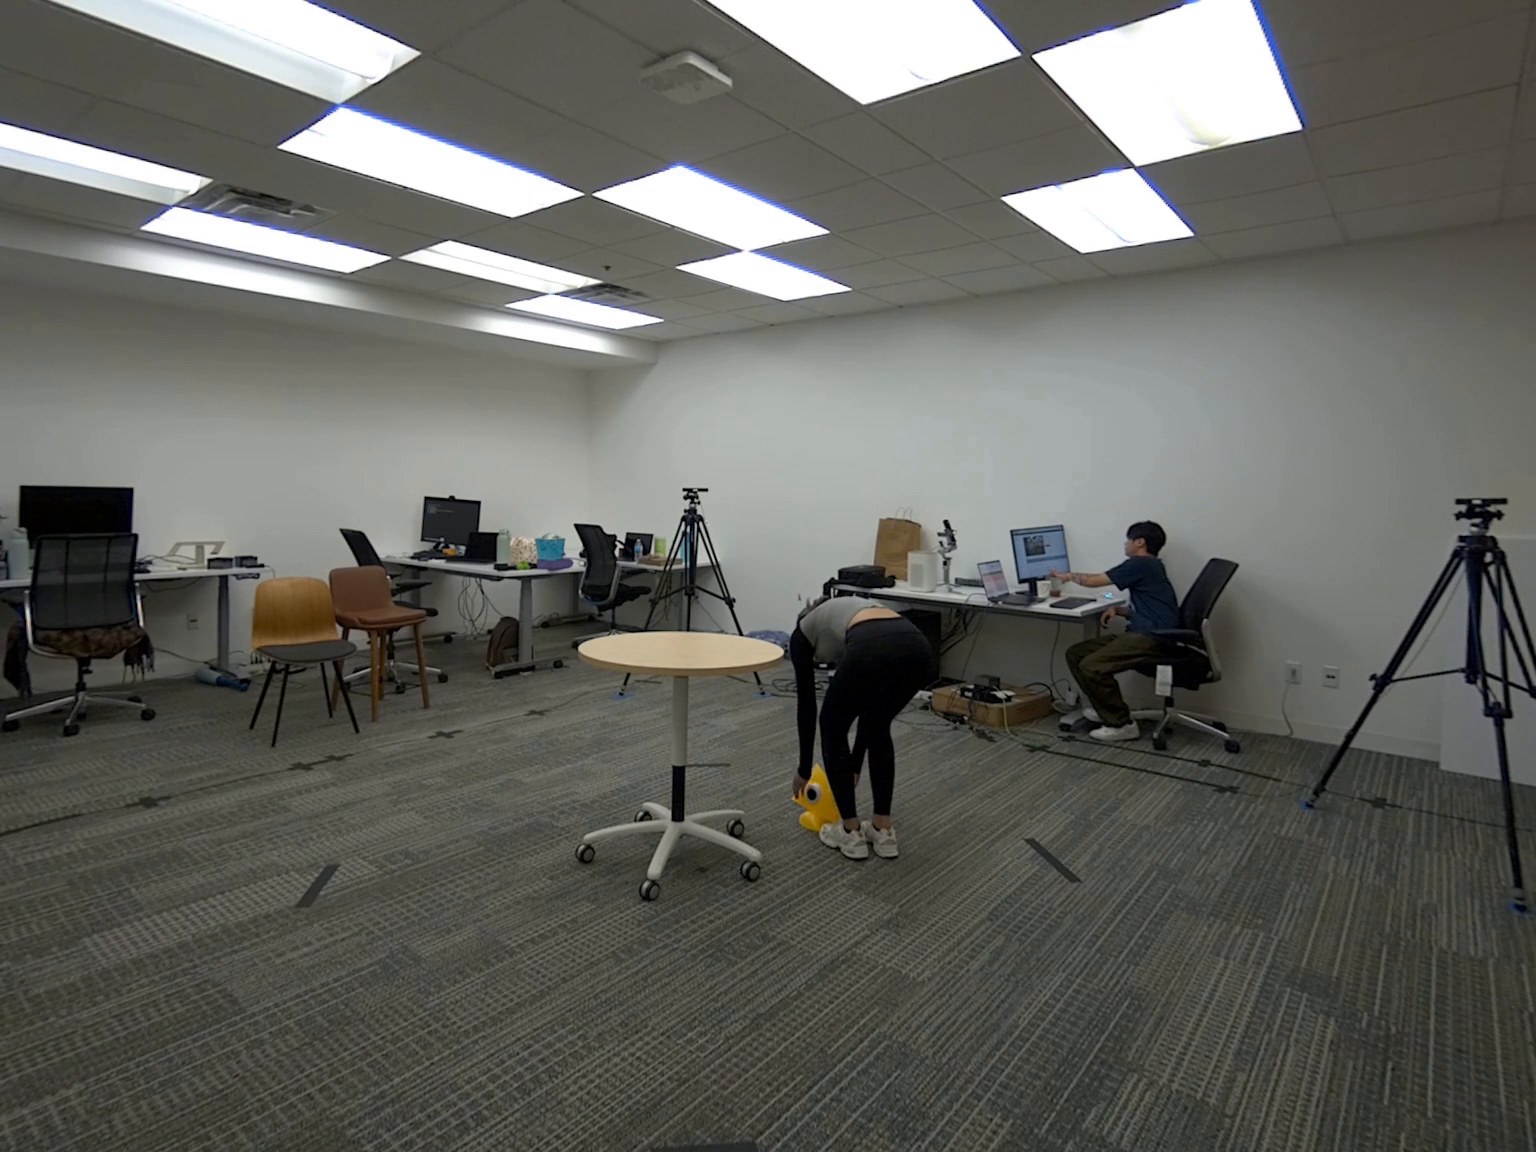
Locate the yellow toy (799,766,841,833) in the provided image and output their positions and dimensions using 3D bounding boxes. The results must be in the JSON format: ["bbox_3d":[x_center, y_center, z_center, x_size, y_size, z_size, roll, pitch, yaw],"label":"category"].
[{"bbox_3d":[0.227,0.920,3.577,0.200,0.230,0.198,1,4,-26],"label":"yellow toy"}]
